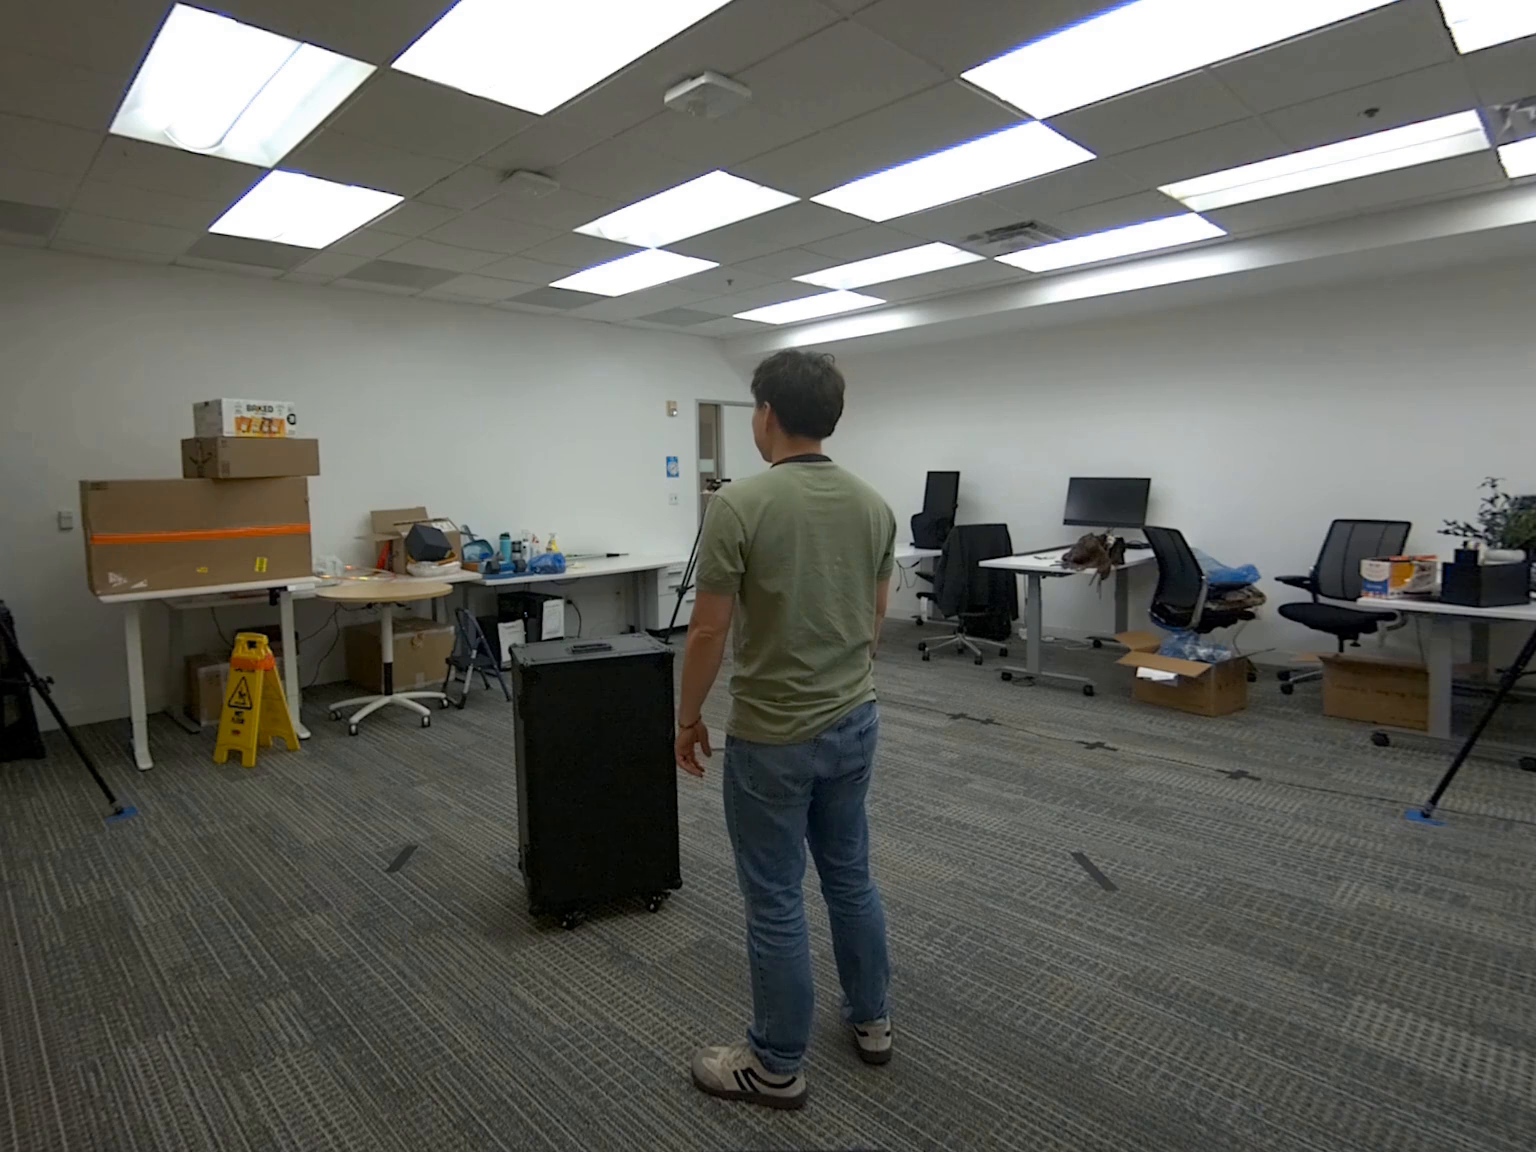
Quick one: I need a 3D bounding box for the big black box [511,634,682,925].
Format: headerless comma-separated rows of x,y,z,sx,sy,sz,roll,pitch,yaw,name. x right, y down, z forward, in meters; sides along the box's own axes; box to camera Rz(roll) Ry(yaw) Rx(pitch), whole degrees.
-0.588,0.659,2.849,0.512,0.859,0.405,-3,3,-21,big black box
